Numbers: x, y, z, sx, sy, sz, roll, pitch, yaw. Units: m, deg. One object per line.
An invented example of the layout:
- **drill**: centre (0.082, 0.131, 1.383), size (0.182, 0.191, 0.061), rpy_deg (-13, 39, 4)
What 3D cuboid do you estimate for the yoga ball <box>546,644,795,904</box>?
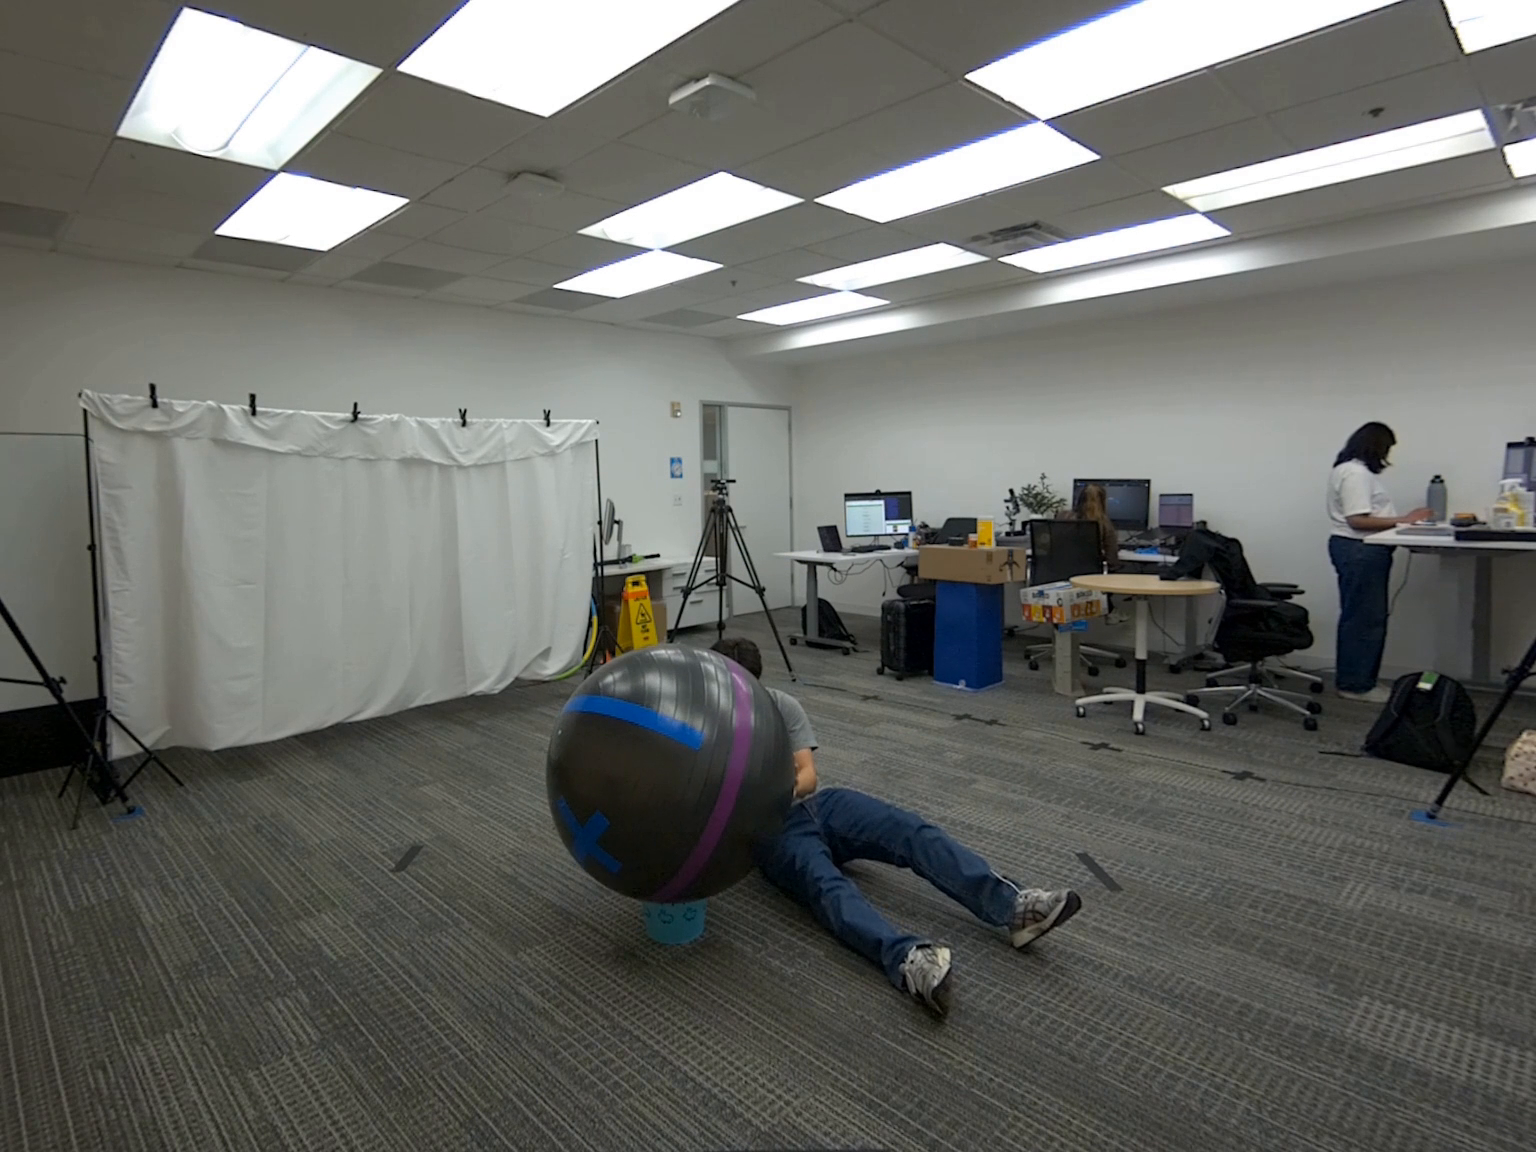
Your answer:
- **yoga ball**: centre (-0.293, 0.598, 2.619), size (0.757, 0.755, 0.762), rpy_deg (-1, 5, -2)
